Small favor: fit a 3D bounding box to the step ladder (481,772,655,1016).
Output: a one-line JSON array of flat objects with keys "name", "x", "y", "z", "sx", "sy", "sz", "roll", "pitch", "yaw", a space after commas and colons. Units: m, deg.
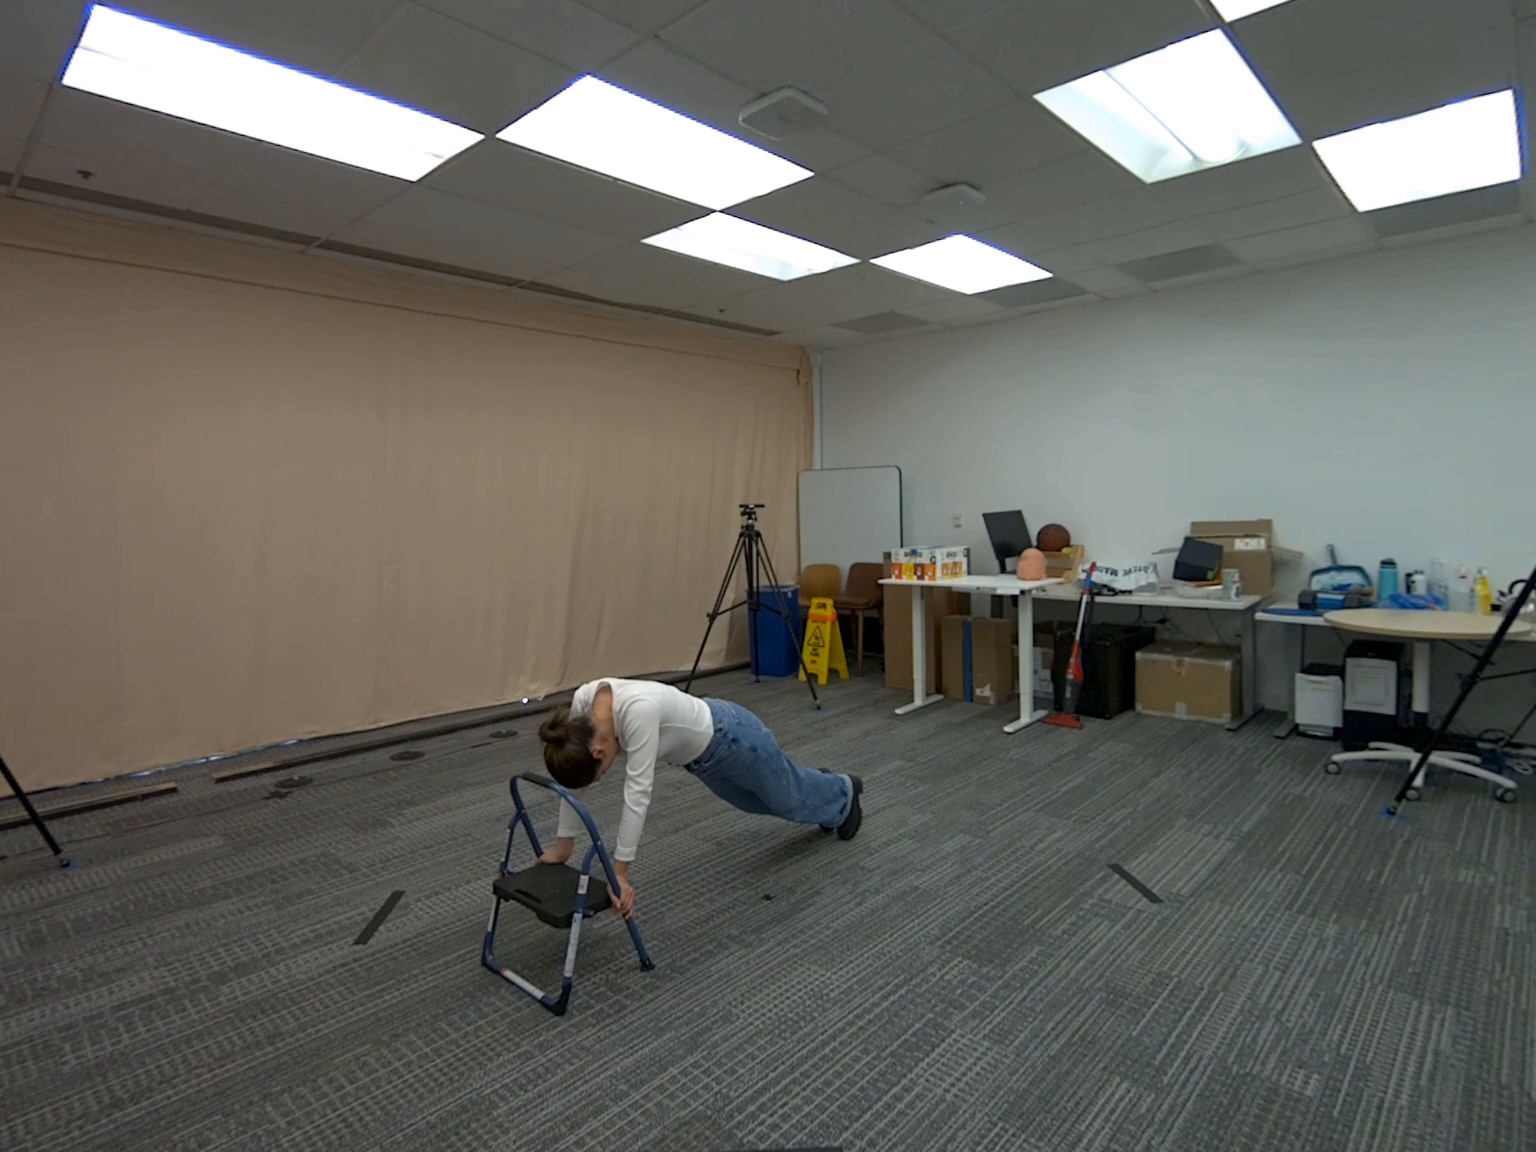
[{"name": "step ladder", "x": -0.622, "y": 0.892, "z": 2.548, "sx": 0.445, "sy": 0.605, "sz": 0.339, "roll": 2, "pitch": 4, "yaw": 42}]
